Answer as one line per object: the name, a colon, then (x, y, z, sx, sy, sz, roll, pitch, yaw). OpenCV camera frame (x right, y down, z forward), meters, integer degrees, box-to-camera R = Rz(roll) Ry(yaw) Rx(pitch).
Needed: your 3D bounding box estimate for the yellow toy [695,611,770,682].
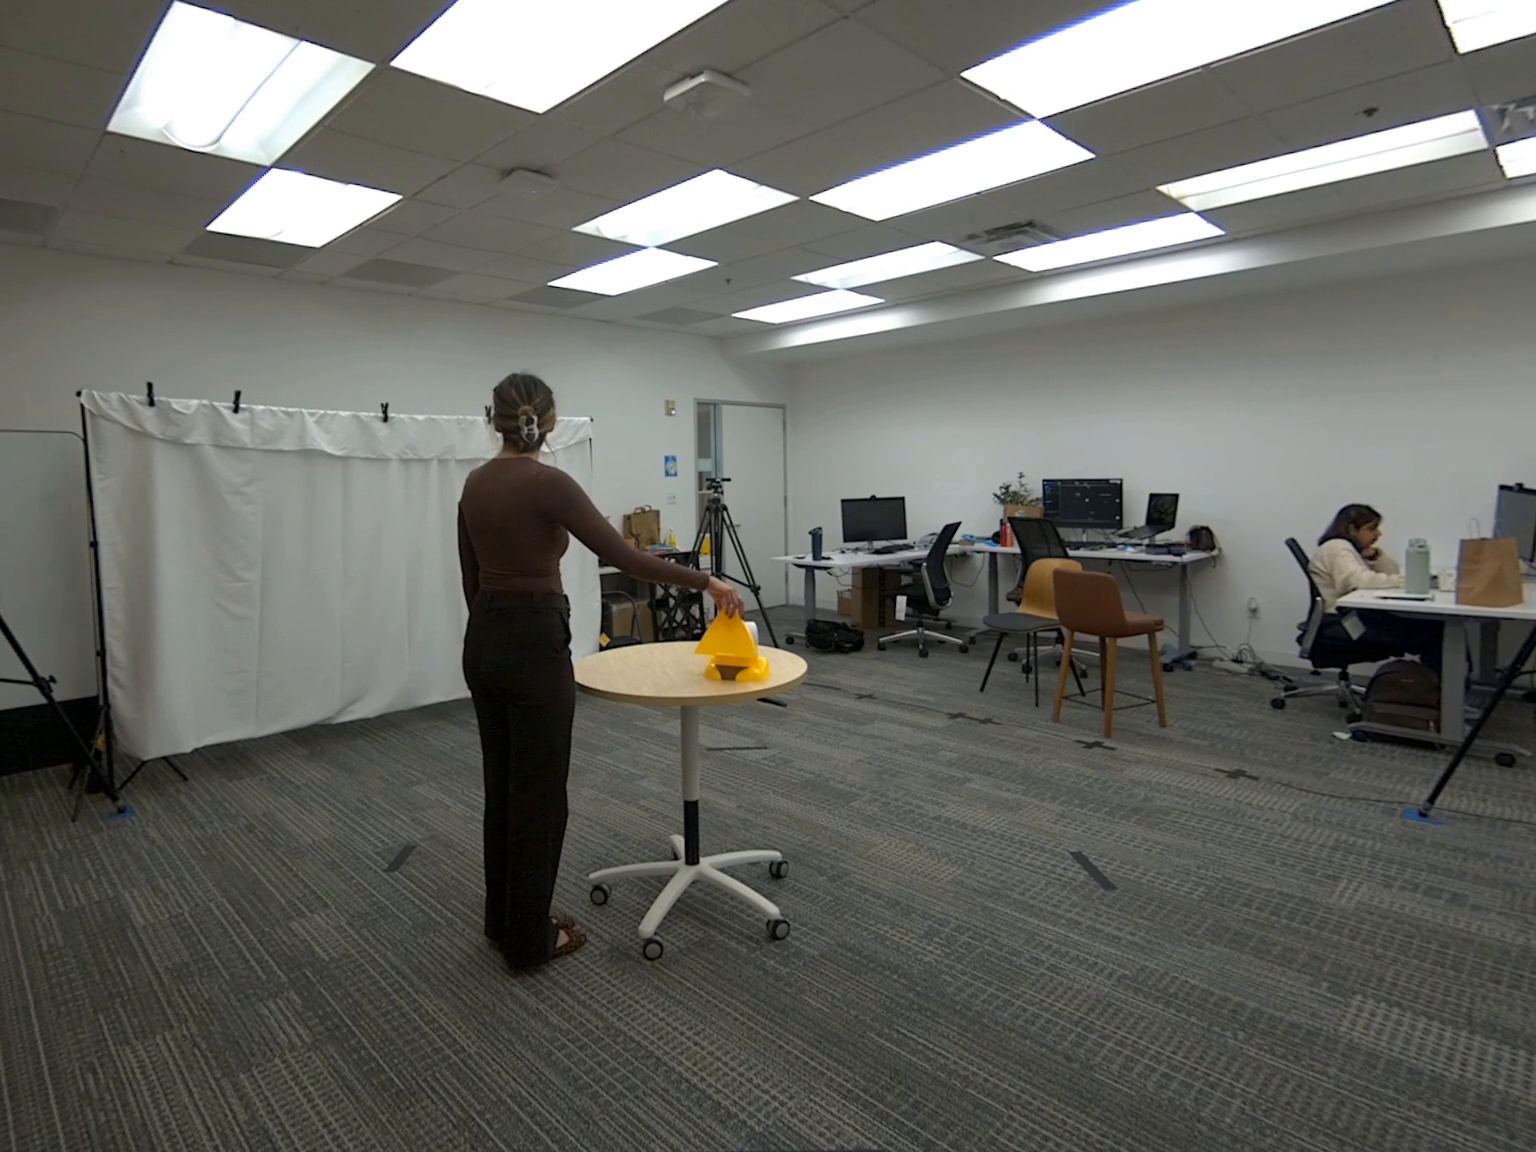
yellow toy: (-0.093, 0.192, 2.607, 0.209, 0.229, 0.190, 2, 7, 20)
